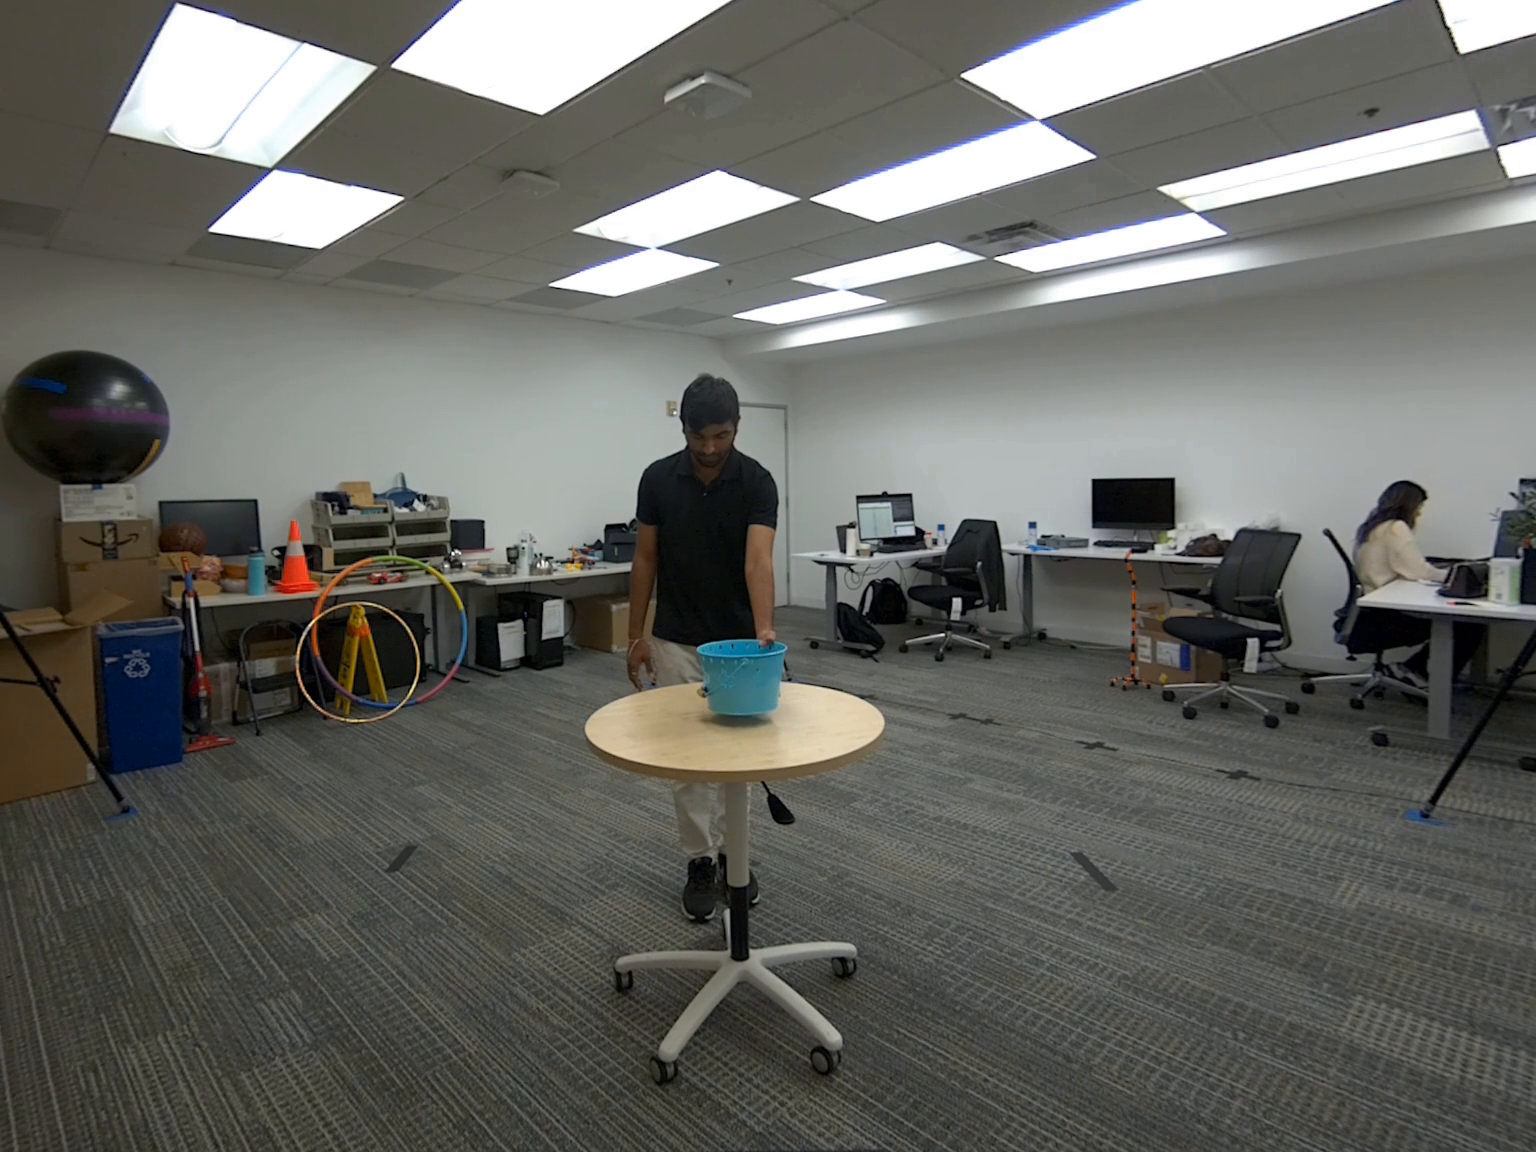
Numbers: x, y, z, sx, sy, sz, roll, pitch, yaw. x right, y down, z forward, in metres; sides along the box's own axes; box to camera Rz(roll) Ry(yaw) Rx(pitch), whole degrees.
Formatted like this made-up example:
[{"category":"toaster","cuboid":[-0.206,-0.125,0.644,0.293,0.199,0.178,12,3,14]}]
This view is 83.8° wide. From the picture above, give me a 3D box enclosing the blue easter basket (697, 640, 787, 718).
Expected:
[{"category":"blue easter basket","cuboid":[-0.055,0.263,2.192,0.243,0.155,0.245,-1,5,-2]}]
